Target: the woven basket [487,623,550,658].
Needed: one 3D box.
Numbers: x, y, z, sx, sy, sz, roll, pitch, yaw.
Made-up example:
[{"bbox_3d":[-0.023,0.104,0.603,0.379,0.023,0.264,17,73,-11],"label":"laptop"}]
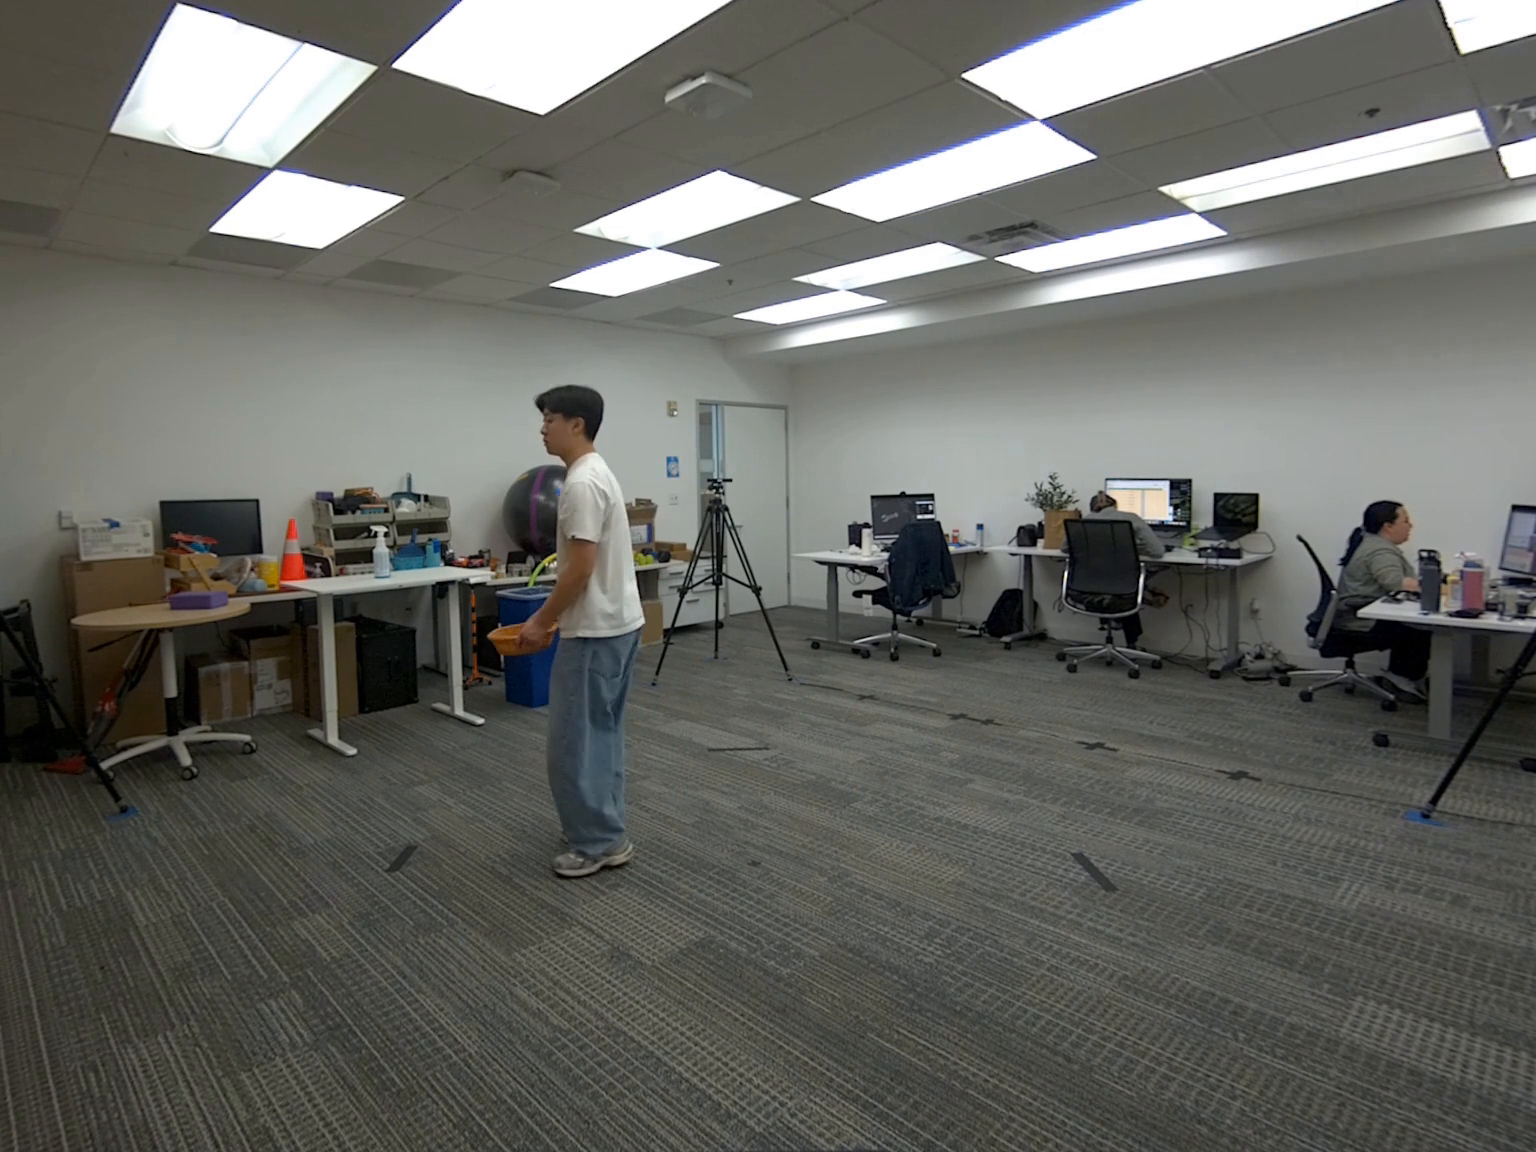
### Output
[{"bbox_3d":[-0.892,0.235,3.189,0.252,0.073,0.352,-5,5,-3],"label":"woven basket"}]
